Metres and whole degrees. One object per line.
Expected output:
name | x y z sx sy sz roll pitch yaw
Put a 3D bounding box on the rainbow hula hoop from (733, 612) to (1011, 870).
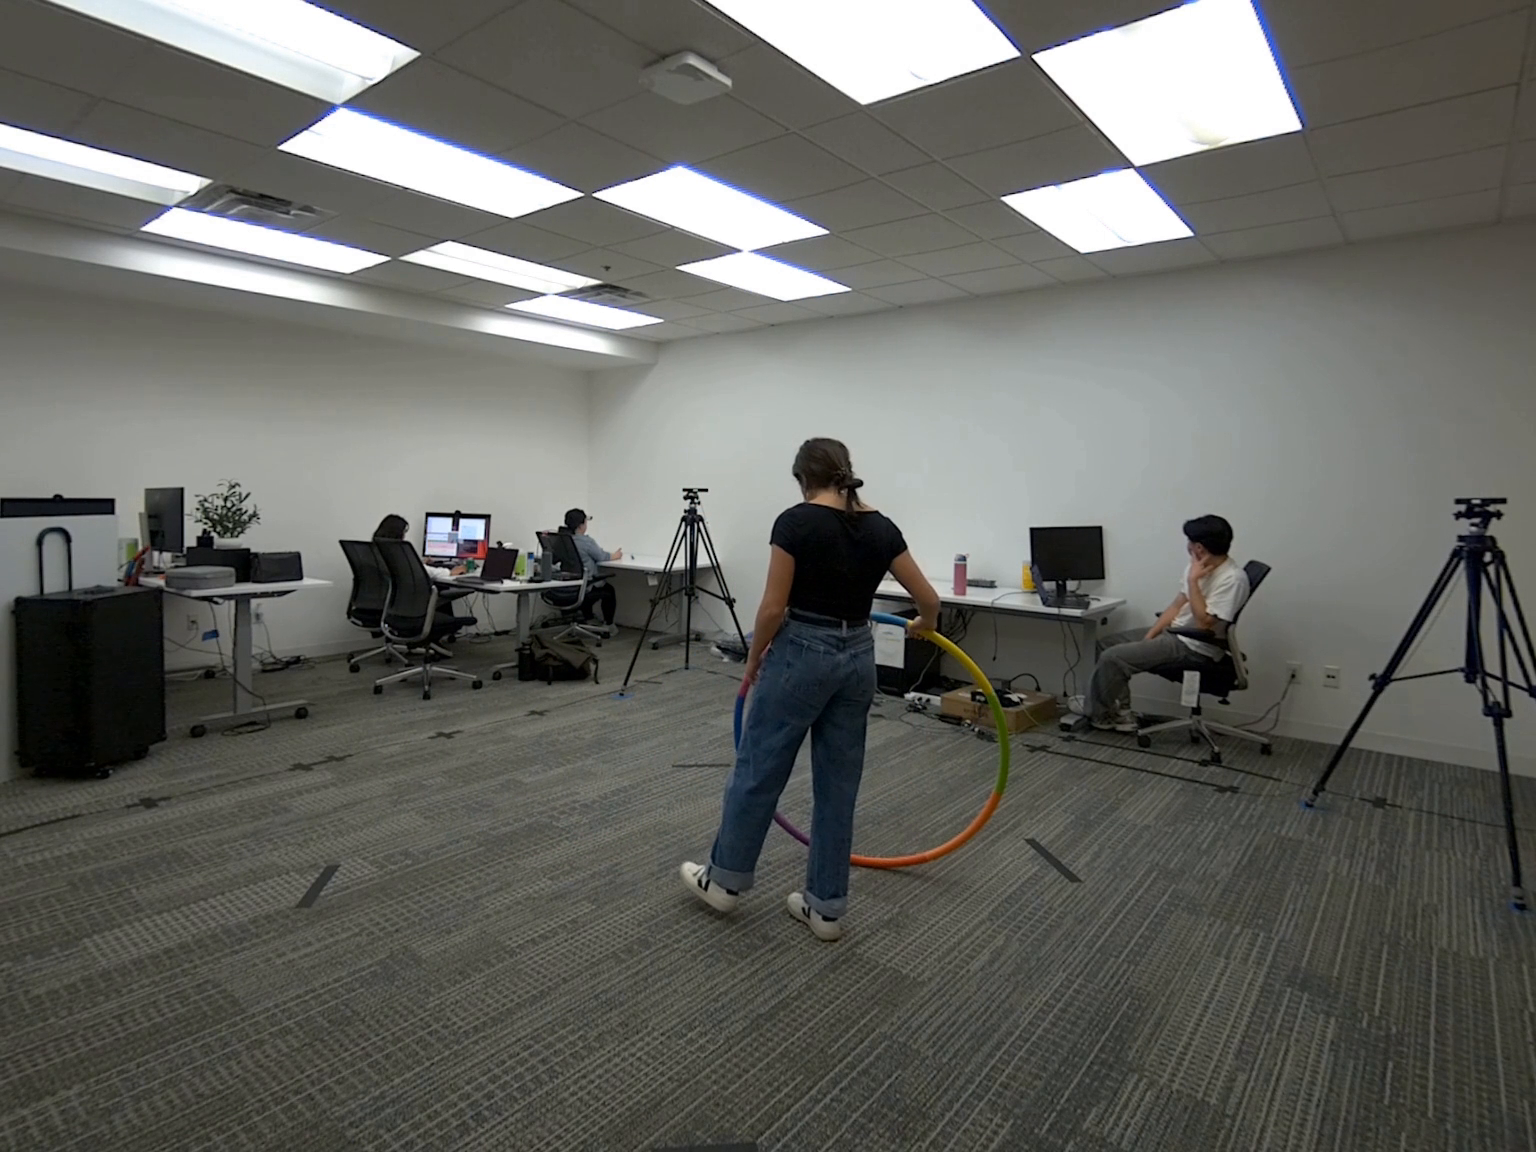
rainbow hula hoop | 0.349 0.593 3.082 0.995 0.967 0.035 2 12 16
